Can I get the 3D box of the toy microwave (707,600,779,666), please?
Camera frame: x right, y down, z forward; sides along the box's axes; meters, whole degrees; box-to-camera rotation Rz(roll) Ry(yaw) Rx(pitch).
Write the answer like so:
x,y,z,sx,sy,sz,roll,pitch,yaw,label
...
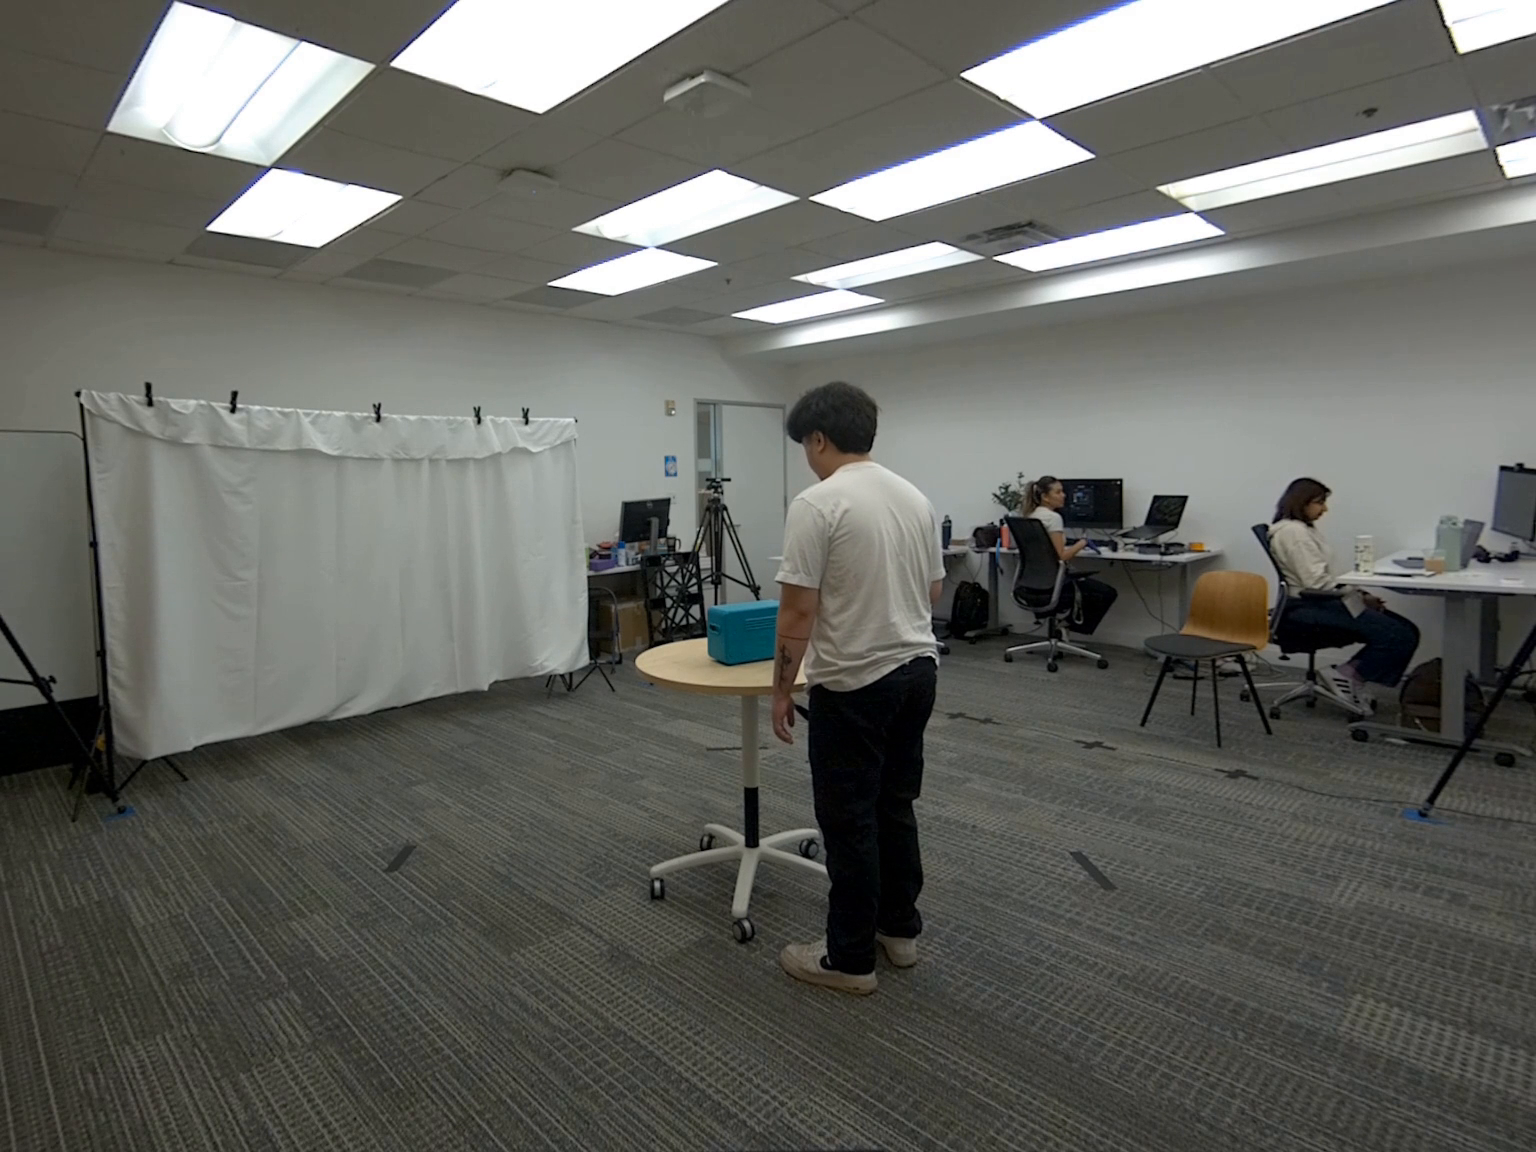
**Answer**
x,y,z,sx,sy,sz,roll,pitch,yaw,label
-0.057,0.184,2.871,0.279,0.183,0.157,-5,7,-31,toy microwave
